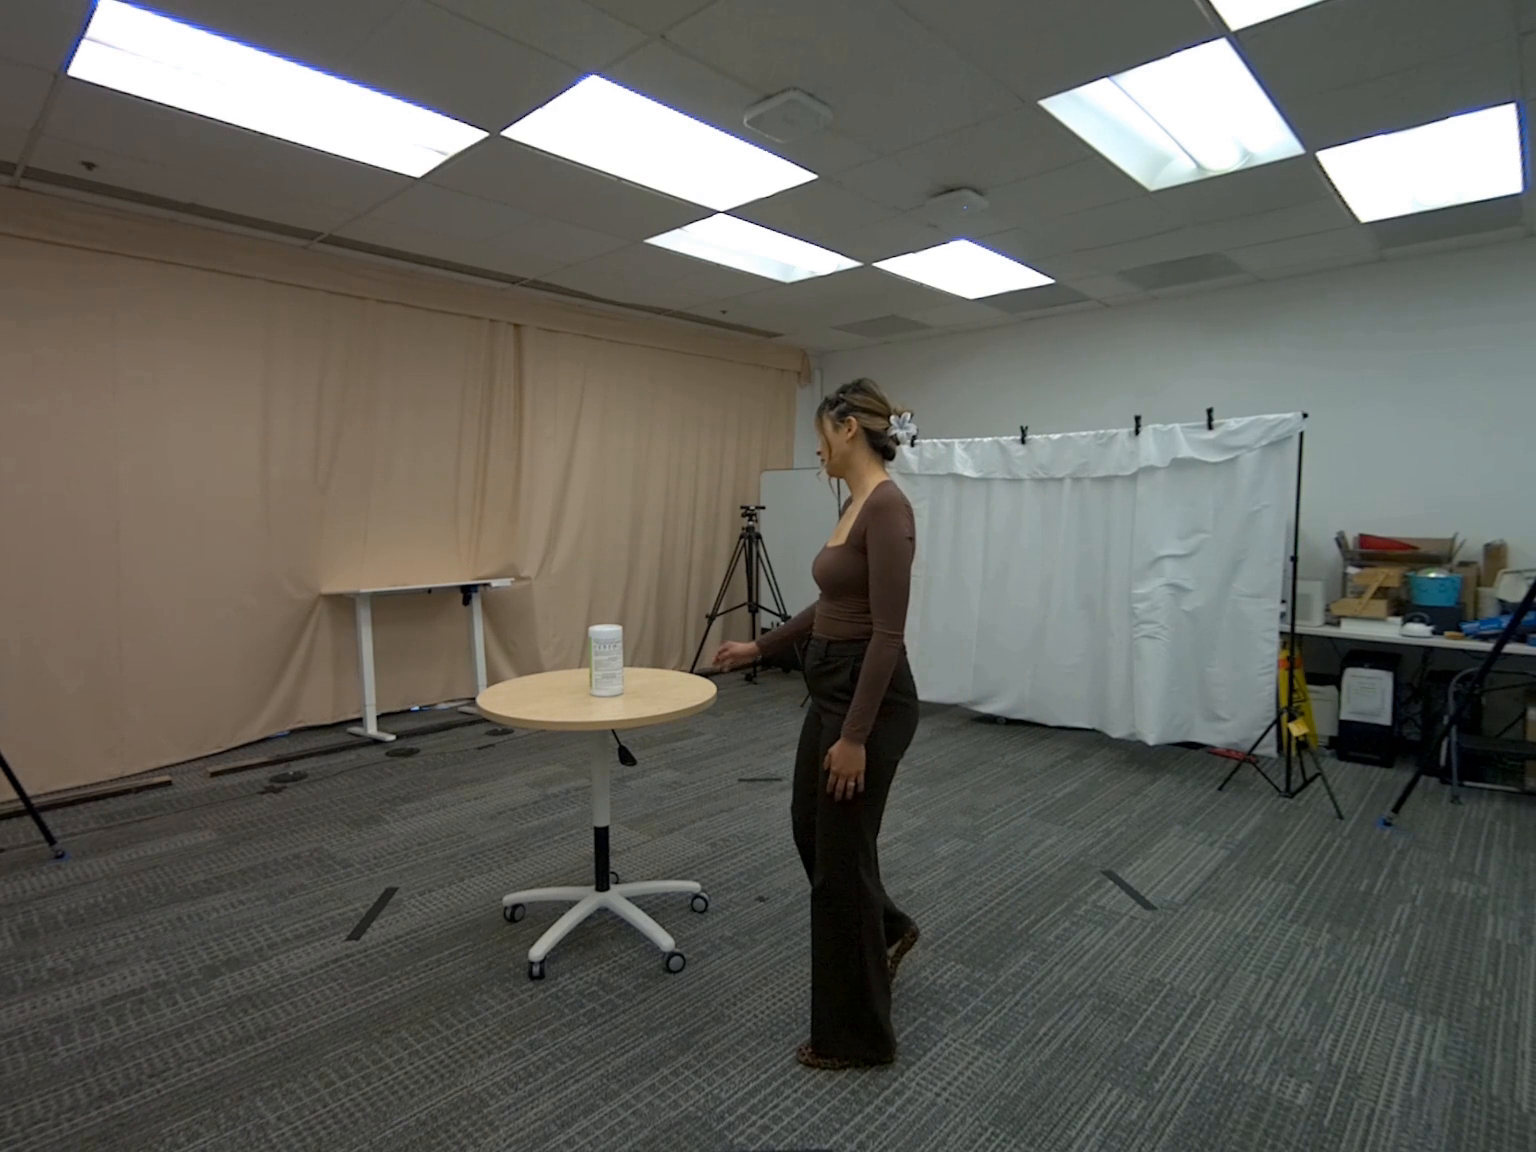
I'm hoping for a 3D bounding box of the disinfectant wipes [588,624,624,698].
[{"bbox_3d":[-0.515,0.272,2.677,0.118,0.217,0.118,-1,2,-2],"label":"disinfectant wipes"}]
